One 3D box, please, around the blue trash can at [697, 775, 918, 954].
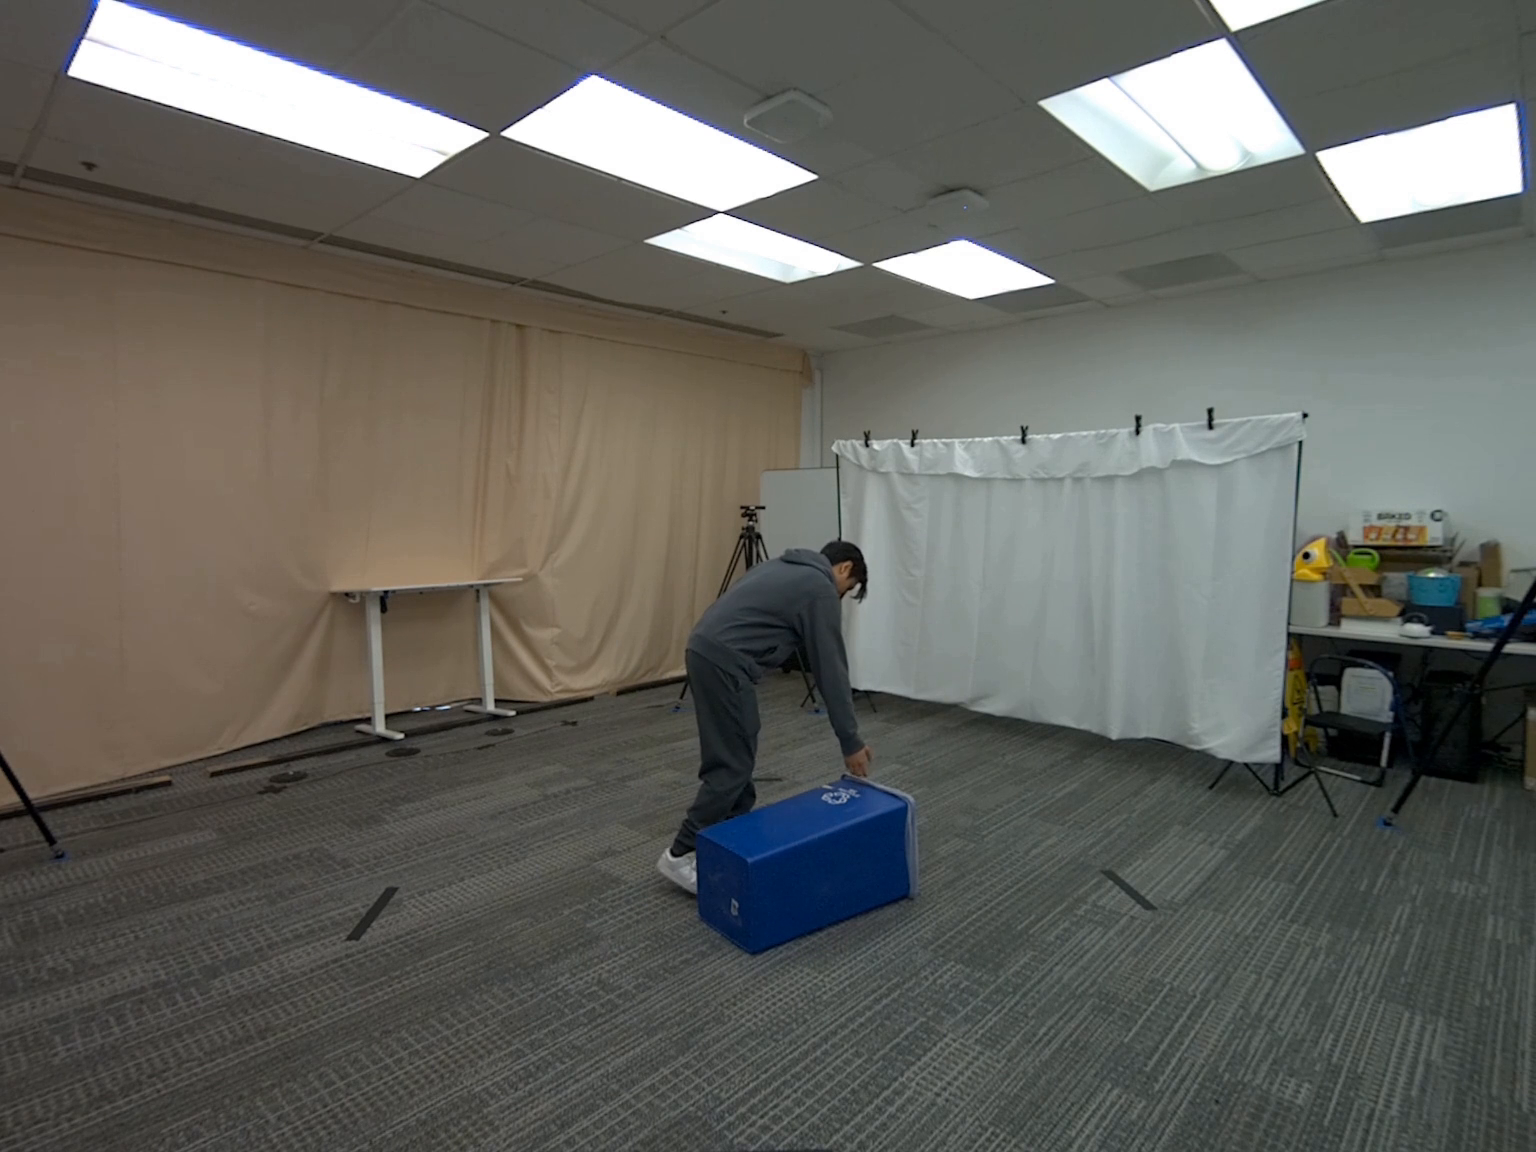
[{"bbox_3d":[0.143,0.982,2.901,0.693,0.376,0.386,-7,8,-37],"label":"blue trash can"}]
